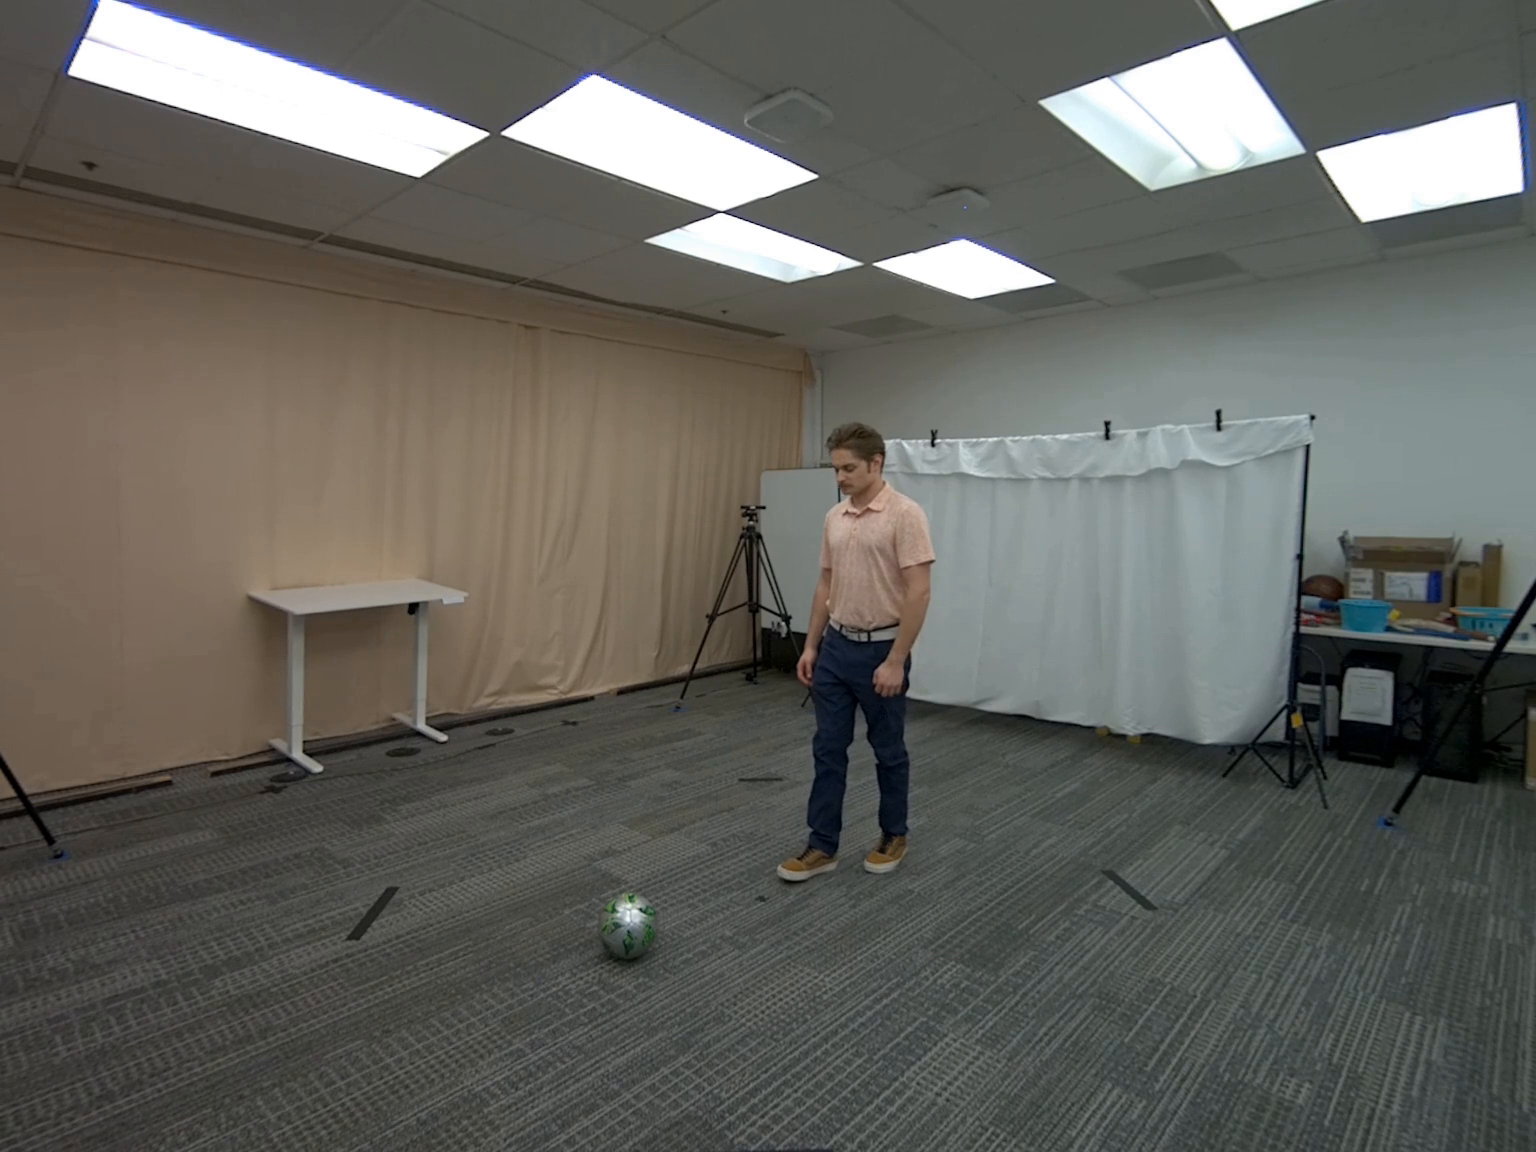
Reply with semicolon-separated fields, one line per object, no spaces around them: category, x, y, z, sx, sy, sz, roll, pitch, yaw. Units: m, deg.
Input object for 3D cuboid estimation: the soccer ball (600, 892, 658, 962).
soccer ball;-0.430;1.082;2.608;0.187;0.187;0.188;0;4;-2
